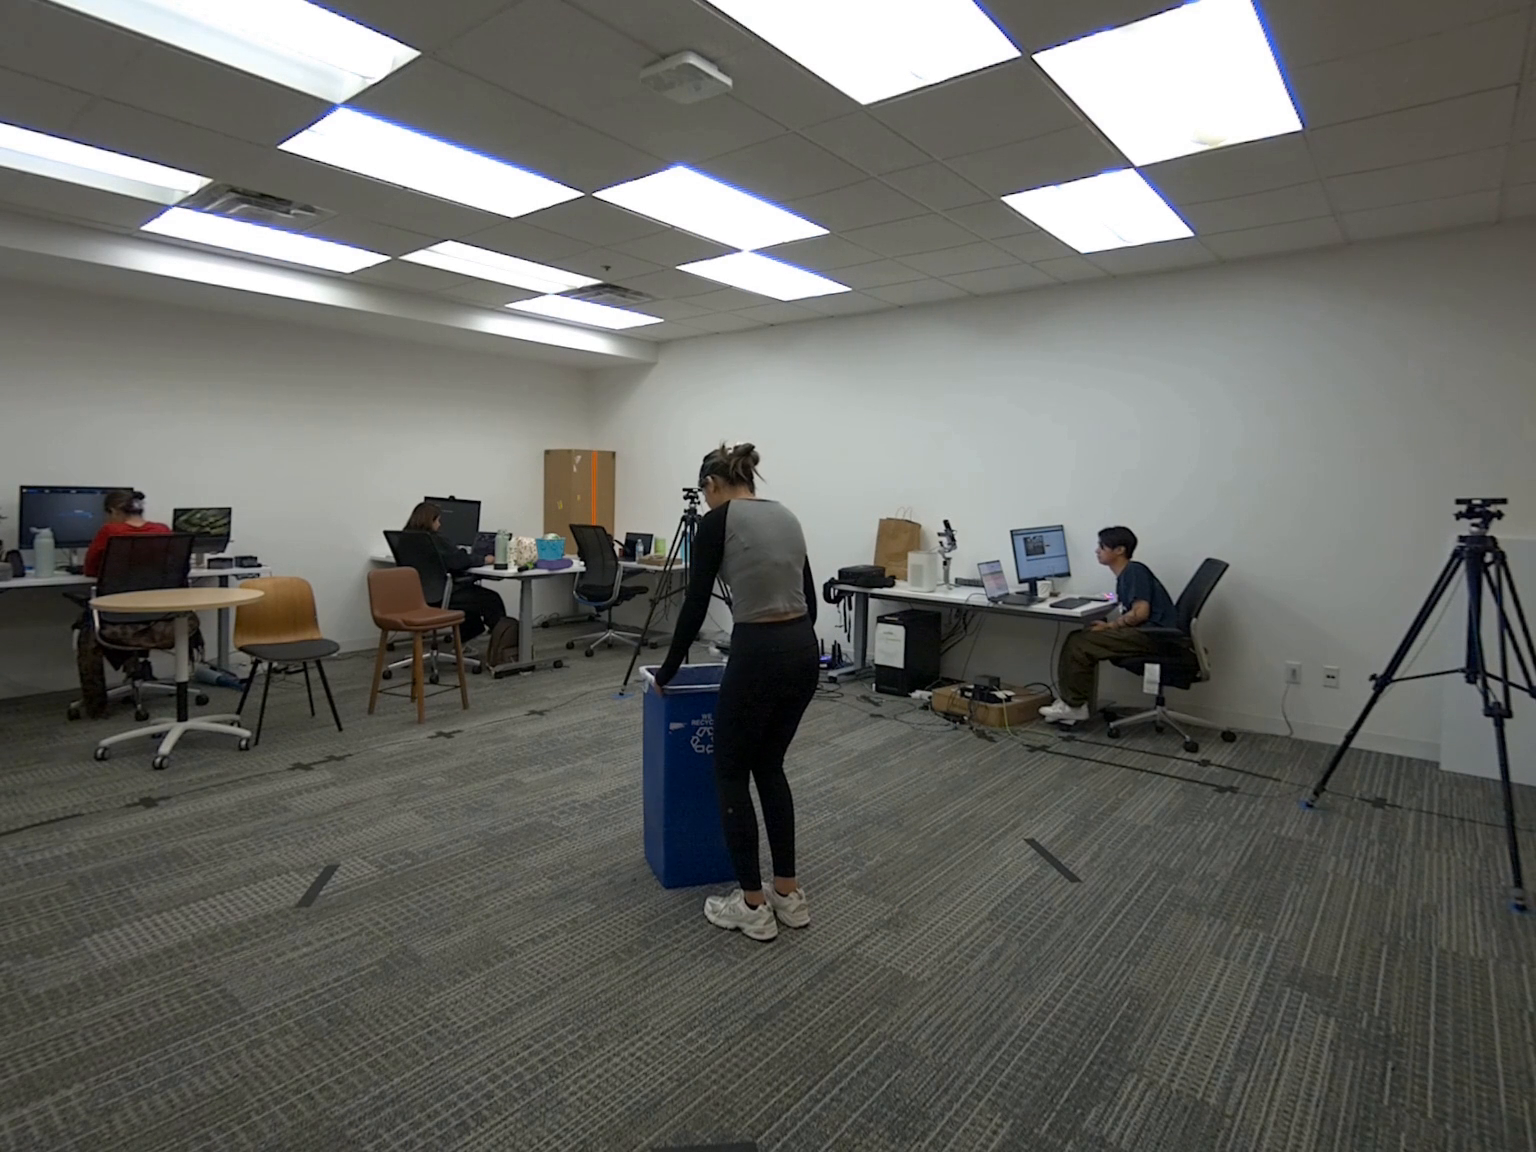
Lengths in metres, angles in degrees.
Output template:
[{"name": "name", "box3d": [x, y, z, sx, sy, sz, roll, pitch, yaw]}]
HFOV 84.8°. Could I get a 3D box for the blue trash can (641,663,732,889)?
[{"name": "blue trash can", "box3d": [-0.270, 0.710, 3.104, 0.370, 0.712, 0.383, 0, 3, -22]}]
